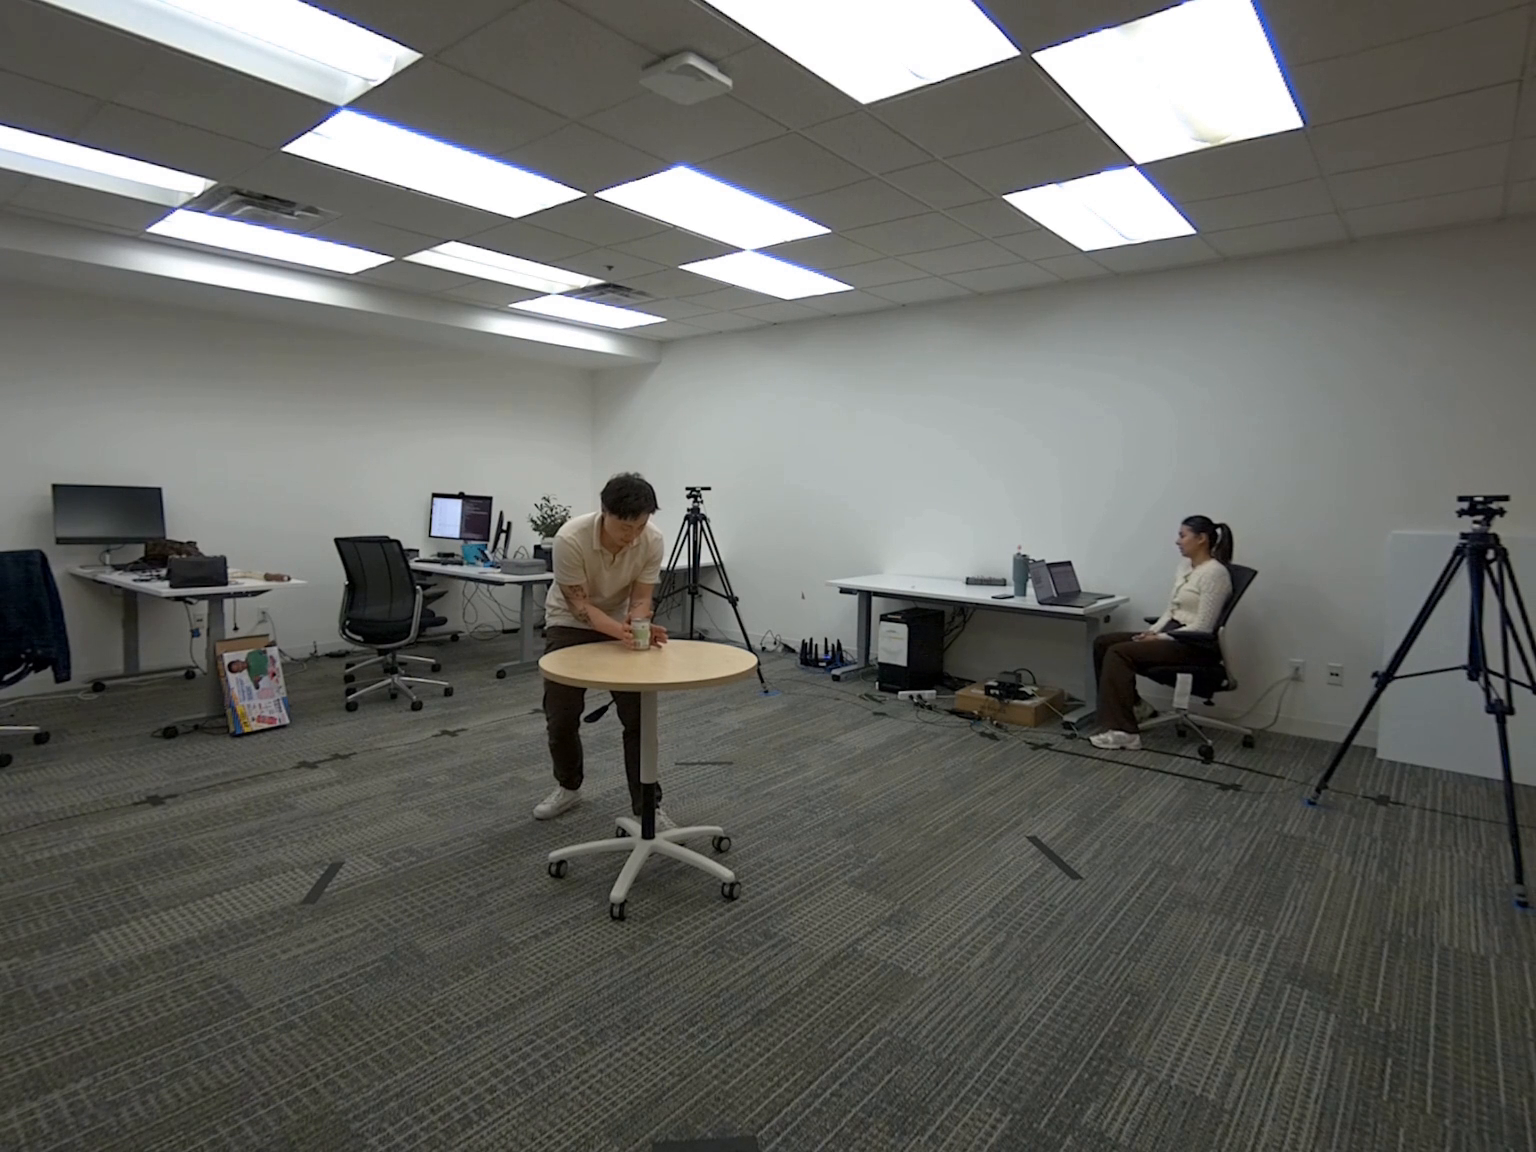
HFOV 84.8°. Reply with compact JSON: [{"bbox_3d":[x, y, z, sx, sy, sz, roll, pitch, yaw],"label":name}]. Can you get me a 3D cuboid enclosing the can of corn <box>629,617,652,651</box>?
[{"bbox_3d":[-0.501,0.220,3.172,0.074,0.111,0.074,-3,1,-2],"label":"can of corn"}]
